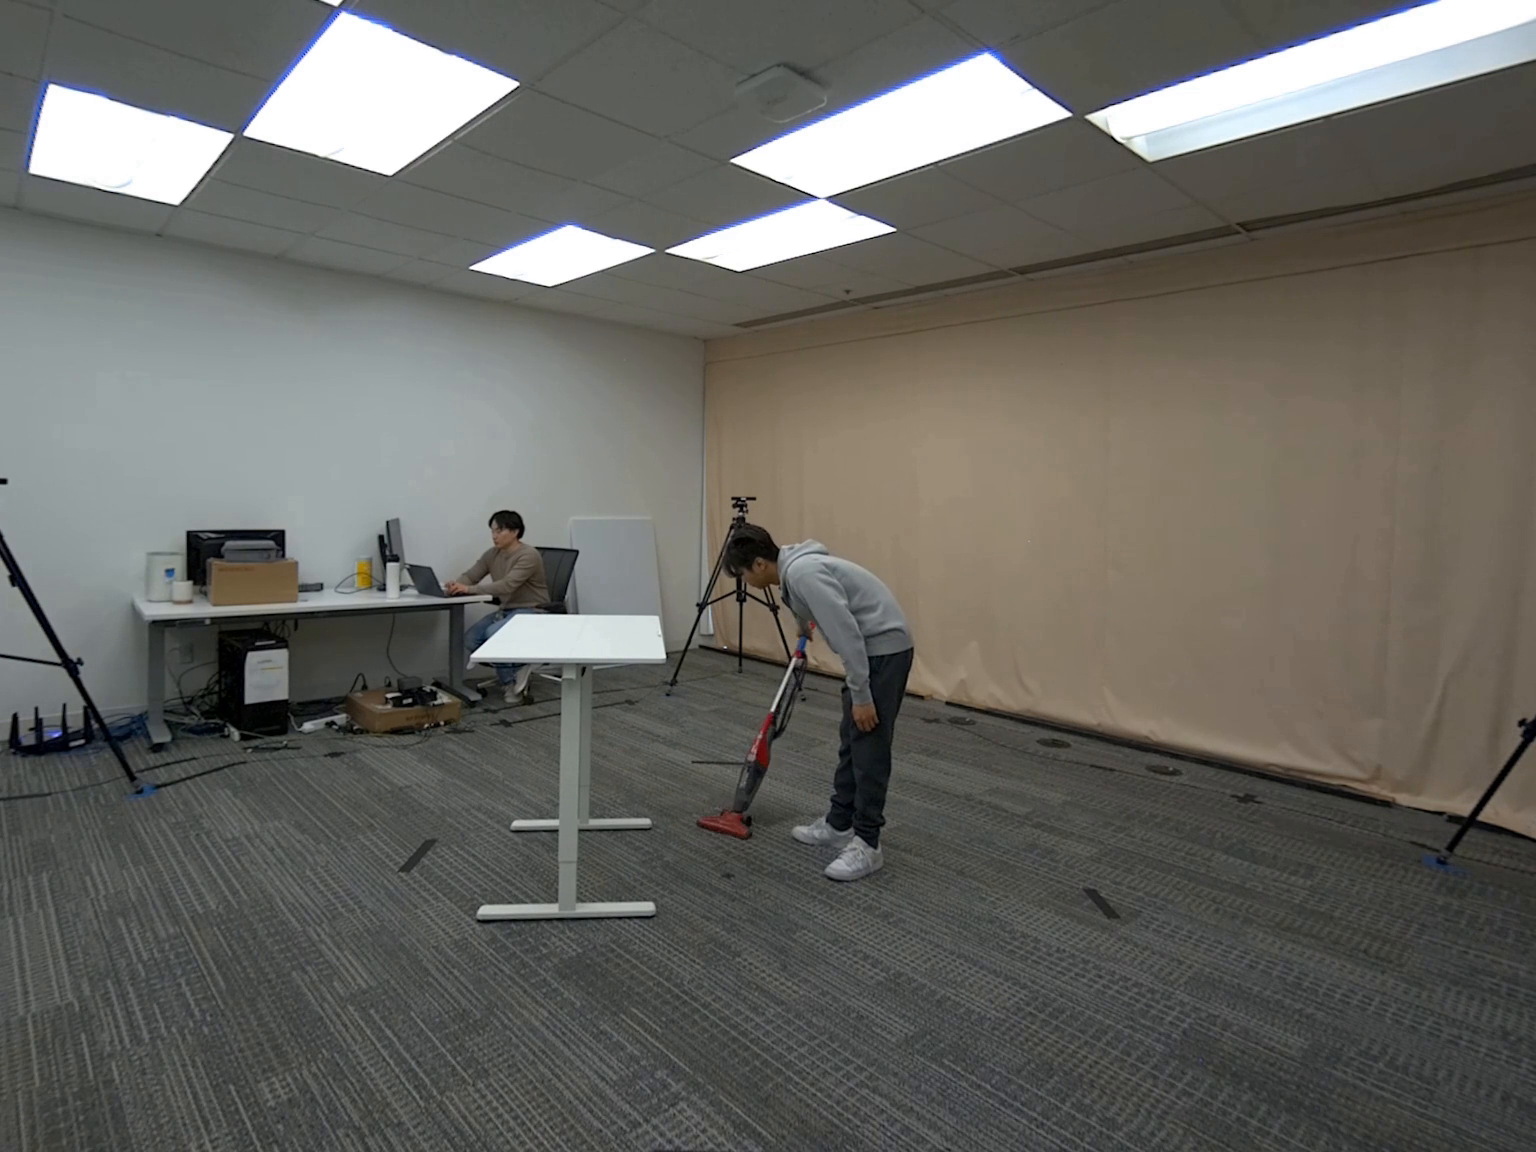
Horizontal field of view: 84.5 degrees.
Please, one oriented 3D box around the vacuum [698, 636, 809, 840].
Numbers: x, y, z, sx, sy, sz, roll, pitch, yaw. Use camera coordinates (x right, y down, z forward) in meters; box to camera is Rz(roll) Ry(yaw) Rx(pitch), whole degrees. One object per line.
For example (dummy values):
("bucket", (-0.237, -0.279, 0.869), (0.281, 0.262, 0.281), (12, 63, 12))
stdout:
("vacuum", (0.028, 0.649, 3.820), (0.258, 1.057, 0.139), (2, -39, 35))
